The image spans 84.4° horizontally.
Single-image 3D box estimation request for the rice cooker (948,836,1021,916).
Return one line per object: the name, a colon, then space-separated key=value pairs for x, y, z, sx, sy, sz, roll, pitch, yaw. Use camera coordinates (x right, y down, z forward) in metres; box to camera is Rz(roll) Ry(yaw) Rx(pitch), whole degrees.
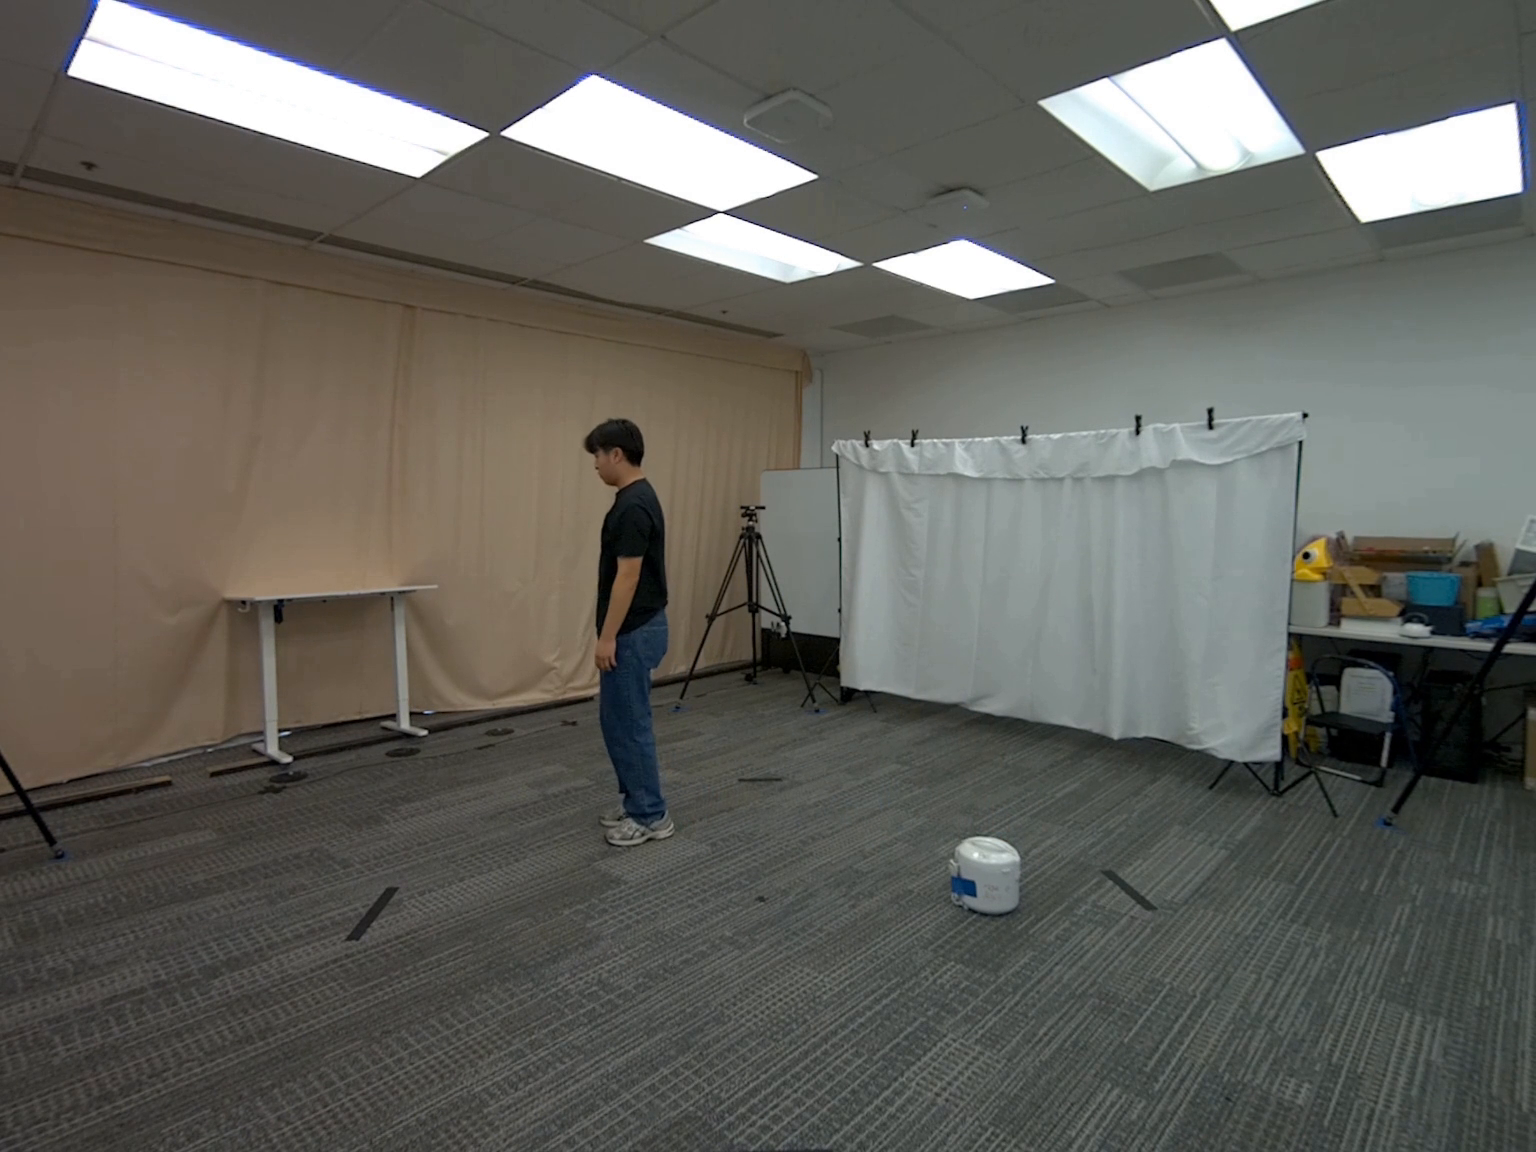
rice cooker: x=0.771 y=1.030 z=2.933 sx=0.227 sy=0.232 sz=0.211 roll=3 pitch=5 yaw=34
